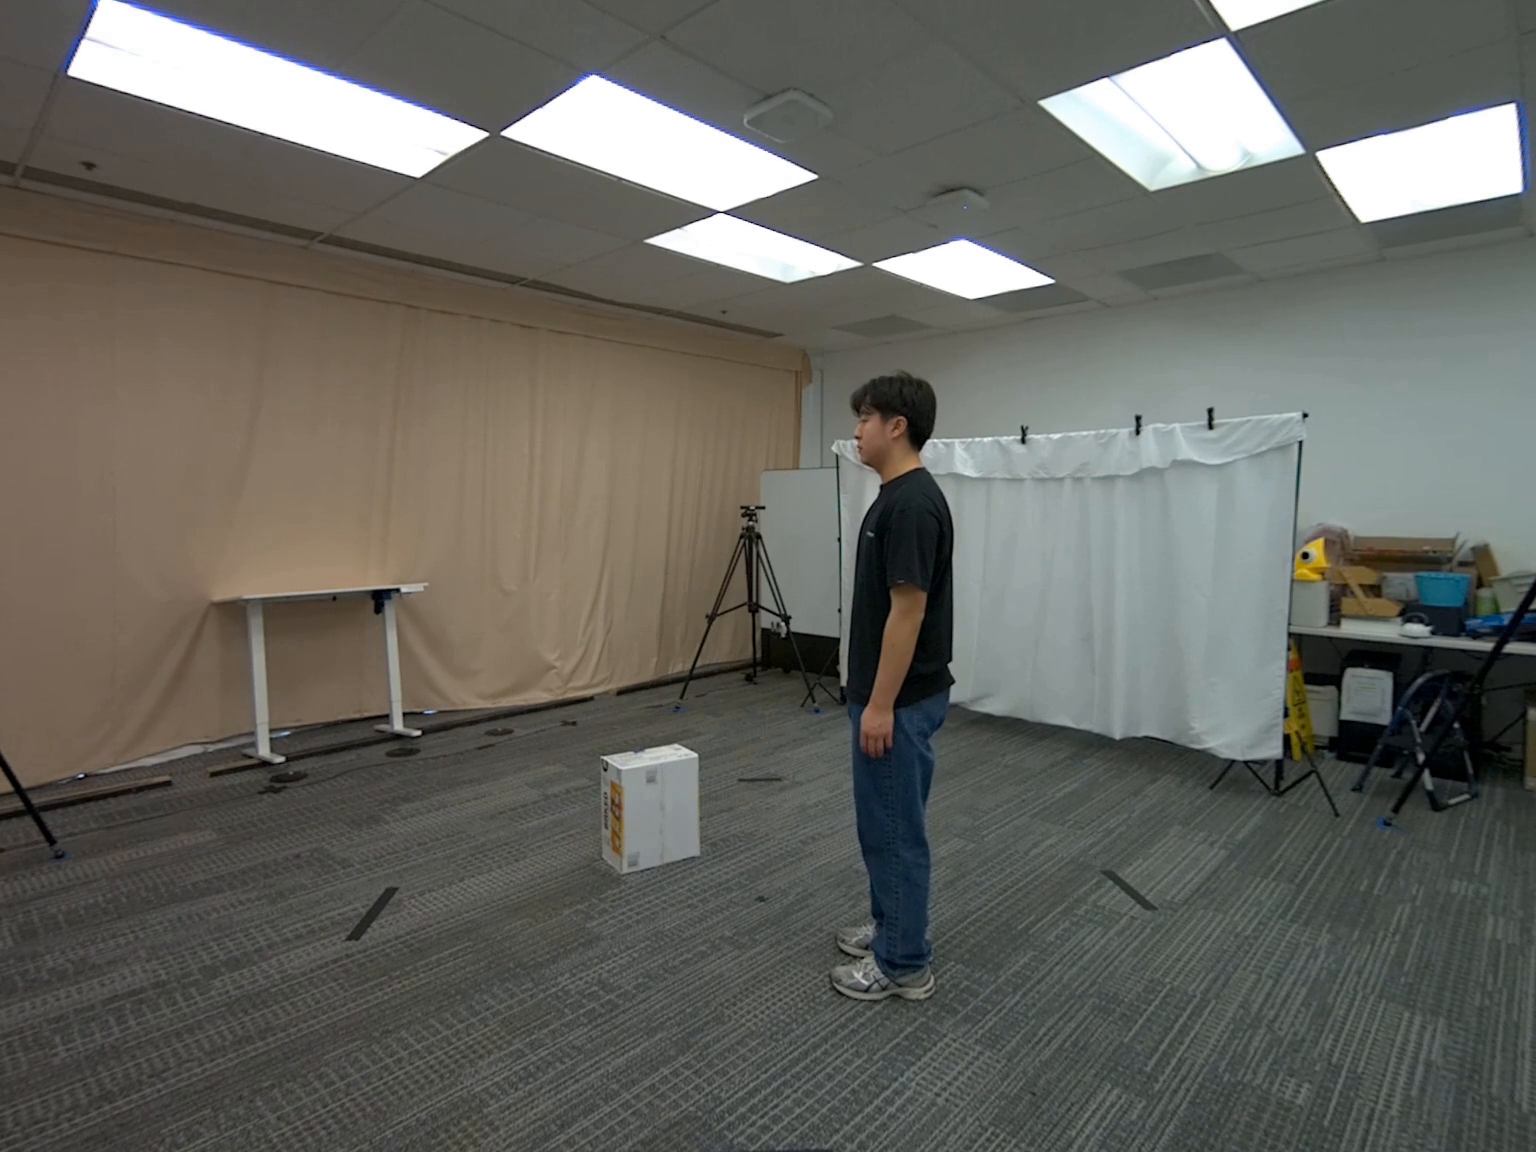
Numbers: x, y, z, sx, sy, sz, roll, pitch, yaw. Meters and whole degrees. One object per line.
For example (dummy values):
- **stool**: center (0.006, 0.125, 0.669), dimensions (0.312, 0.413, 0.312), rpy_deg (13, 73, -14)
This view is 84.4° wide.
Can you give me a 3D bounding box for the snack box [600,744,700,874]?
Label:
- **snack box**: center (-0.467, 0.910, 3.347), dimensions (0.331, 0.404, 0.212), rpy_deg (-2, 4, -32)
